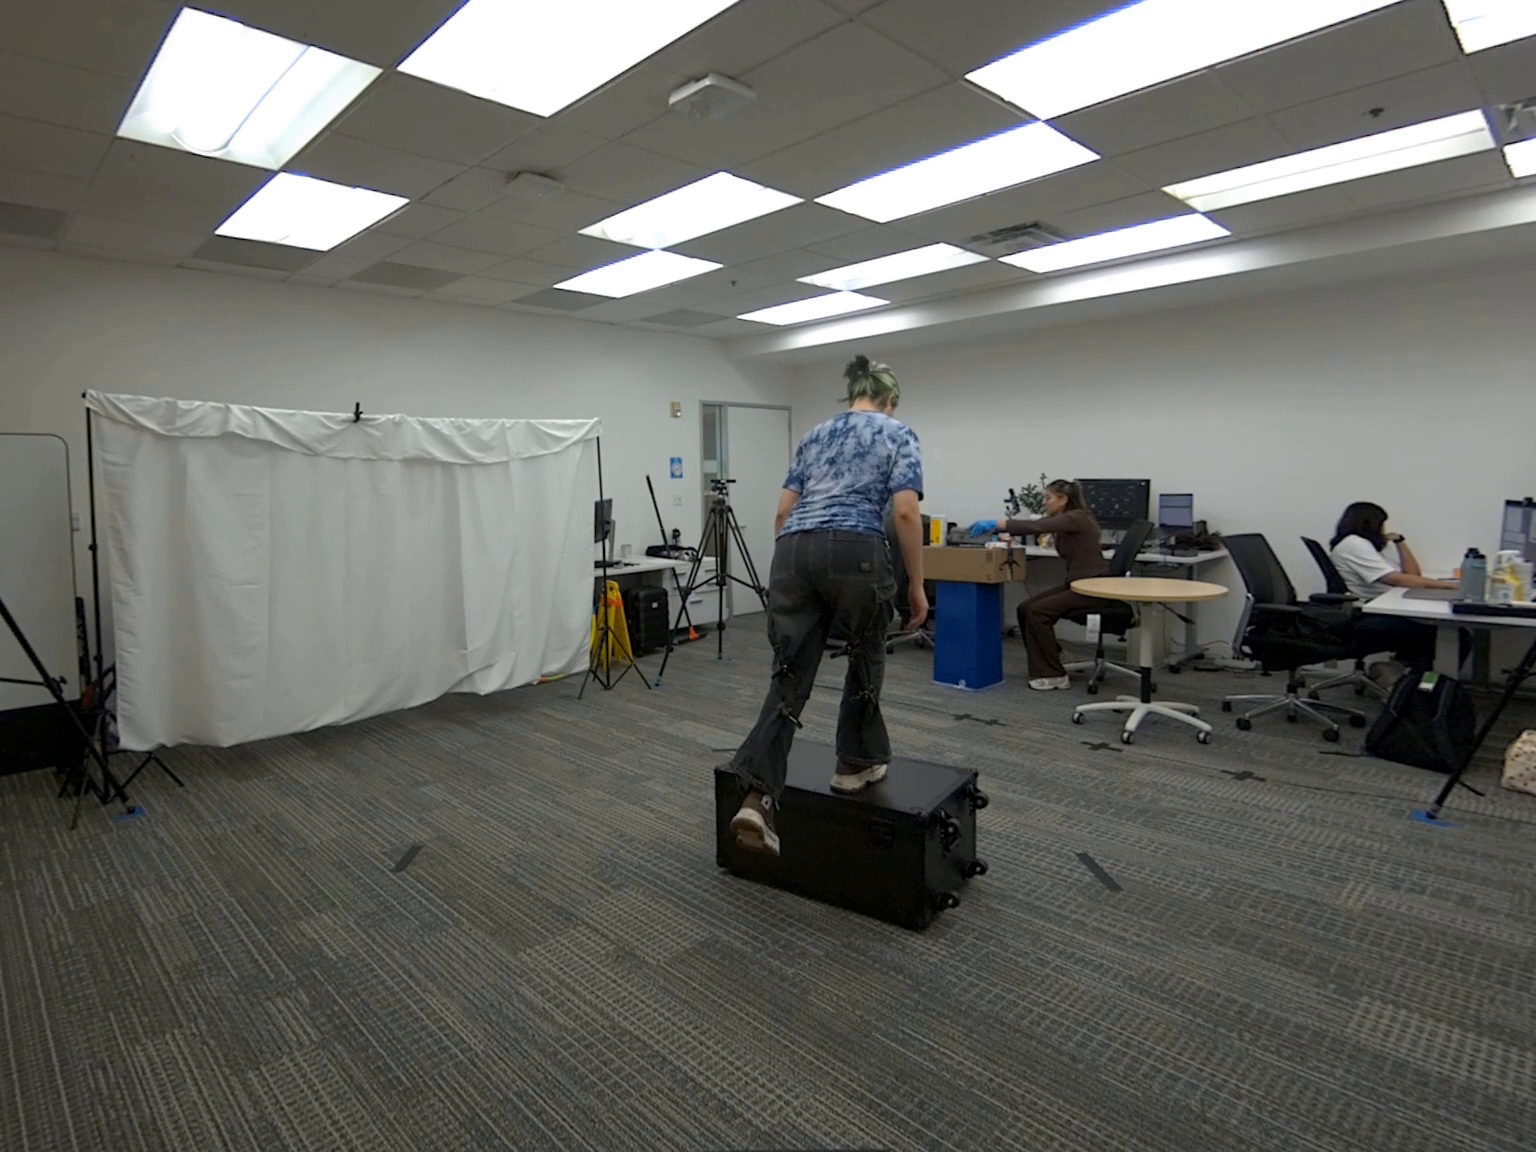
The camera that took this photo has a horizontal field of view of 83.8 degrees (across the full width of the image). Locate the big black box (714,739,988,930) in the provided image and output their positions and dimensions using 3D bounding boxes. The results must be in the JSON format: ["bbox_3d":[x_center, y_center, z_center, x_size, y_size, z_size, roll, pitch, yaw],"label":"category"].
[{"bbox_3d":[0.299,0.867,2.984,0.886,0.395,0.509,3,6,34],"label":"big black box"}]
